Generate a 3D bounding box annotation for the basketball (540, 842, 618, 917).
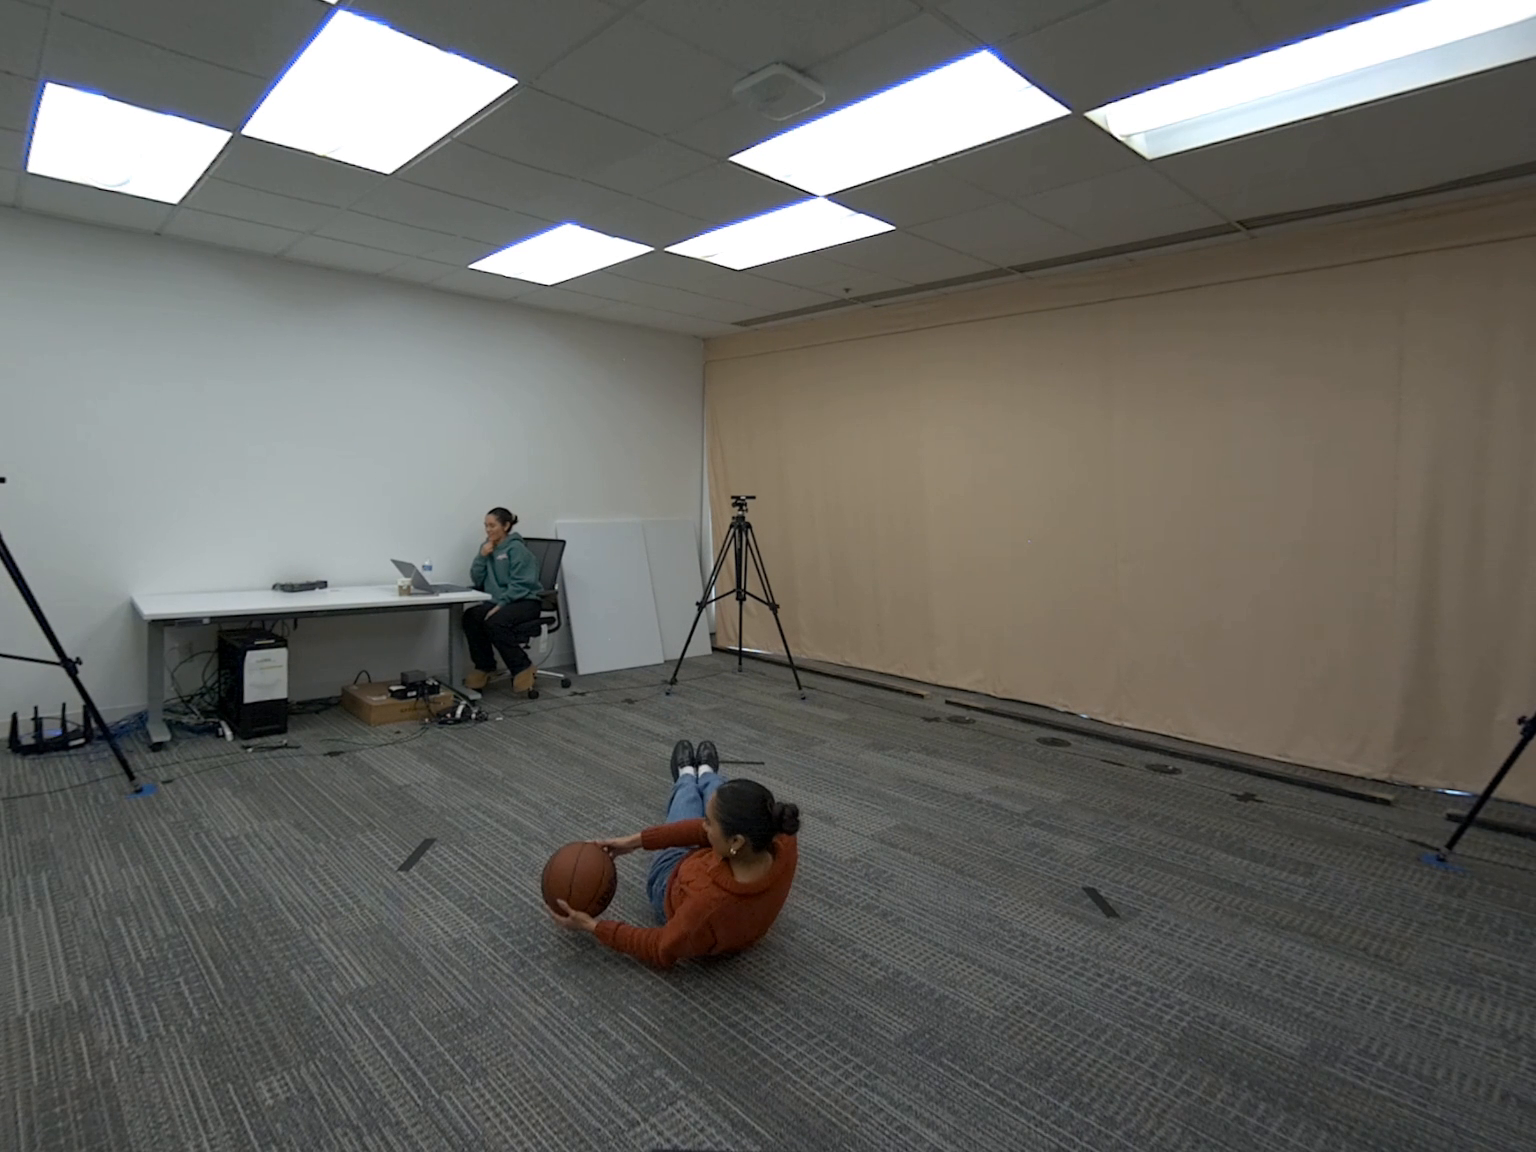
[{"bbox_3d":[-0.582,0.937,2.635,0.236,0.235,0.237,1,4,-1],"label":"basketball"}]
